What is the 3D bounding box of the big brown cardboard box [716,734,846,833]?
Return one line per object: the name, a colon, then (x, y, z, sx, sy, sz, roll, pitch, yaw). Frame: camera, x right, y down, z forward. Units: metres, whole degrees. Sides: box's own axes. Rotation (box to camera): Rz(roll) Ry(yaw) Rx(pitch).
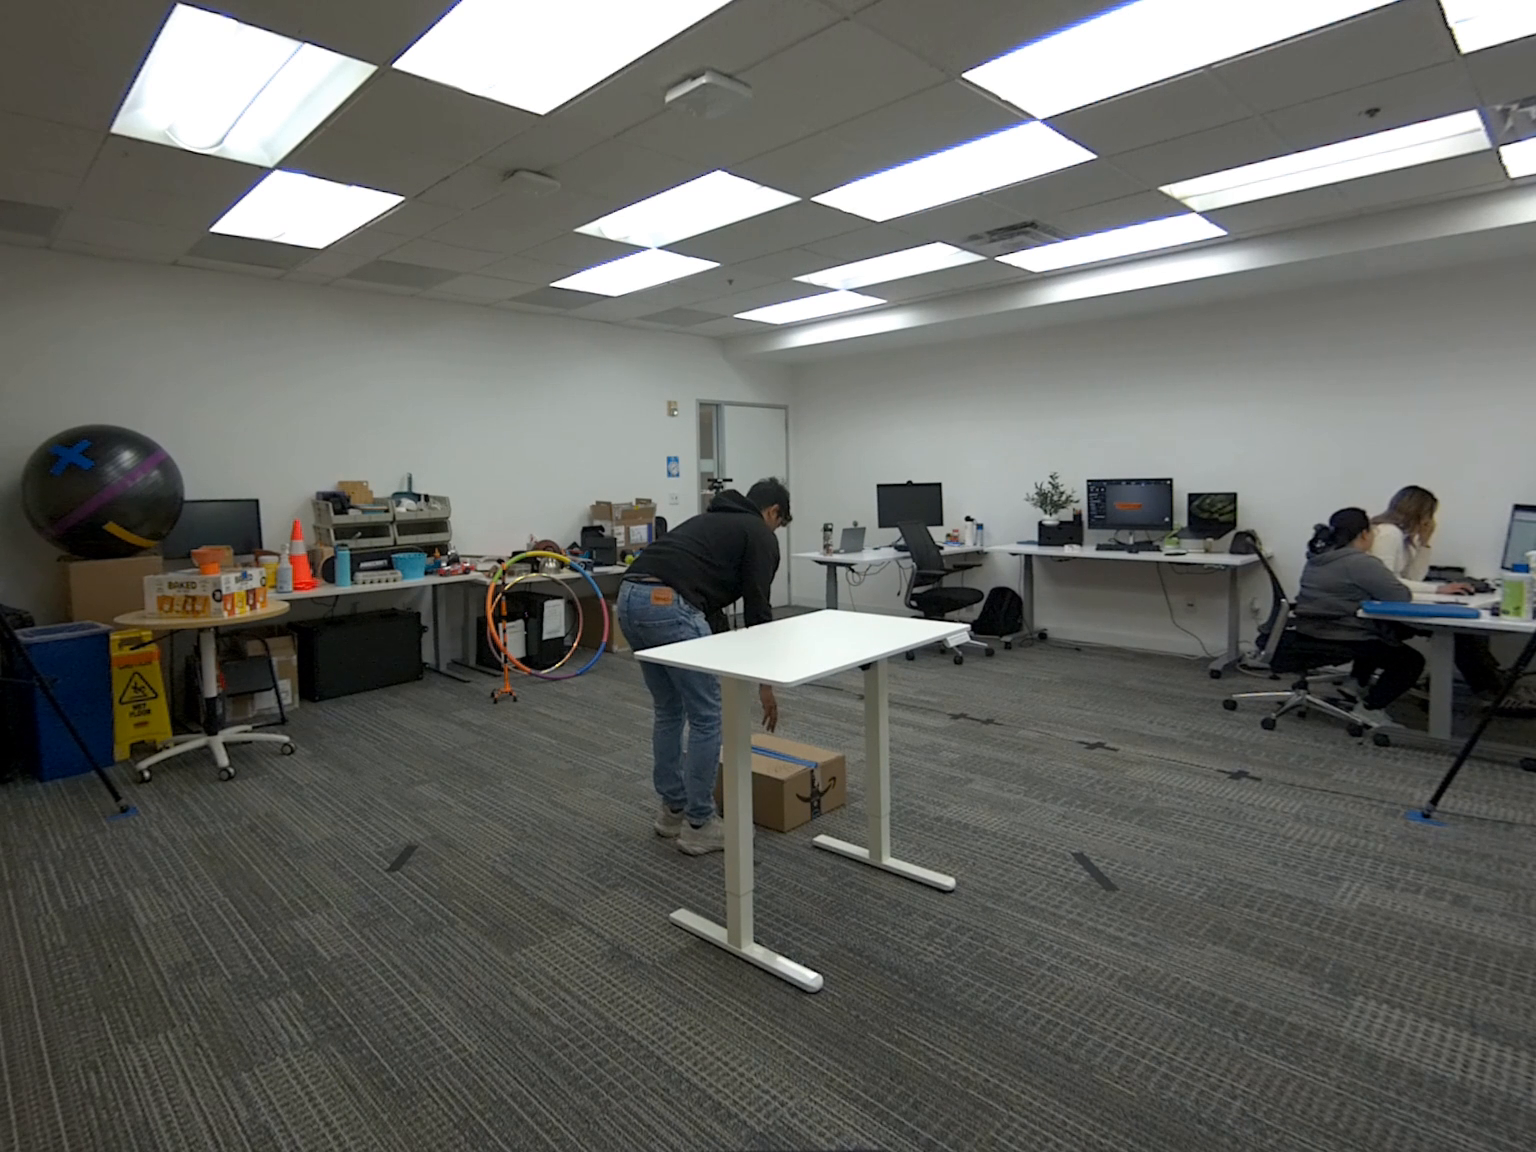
big brown cardboard box: (-0.017, 0.868, 3.700, 0.607, 0.232, 0.407, 5, 9, 41)
